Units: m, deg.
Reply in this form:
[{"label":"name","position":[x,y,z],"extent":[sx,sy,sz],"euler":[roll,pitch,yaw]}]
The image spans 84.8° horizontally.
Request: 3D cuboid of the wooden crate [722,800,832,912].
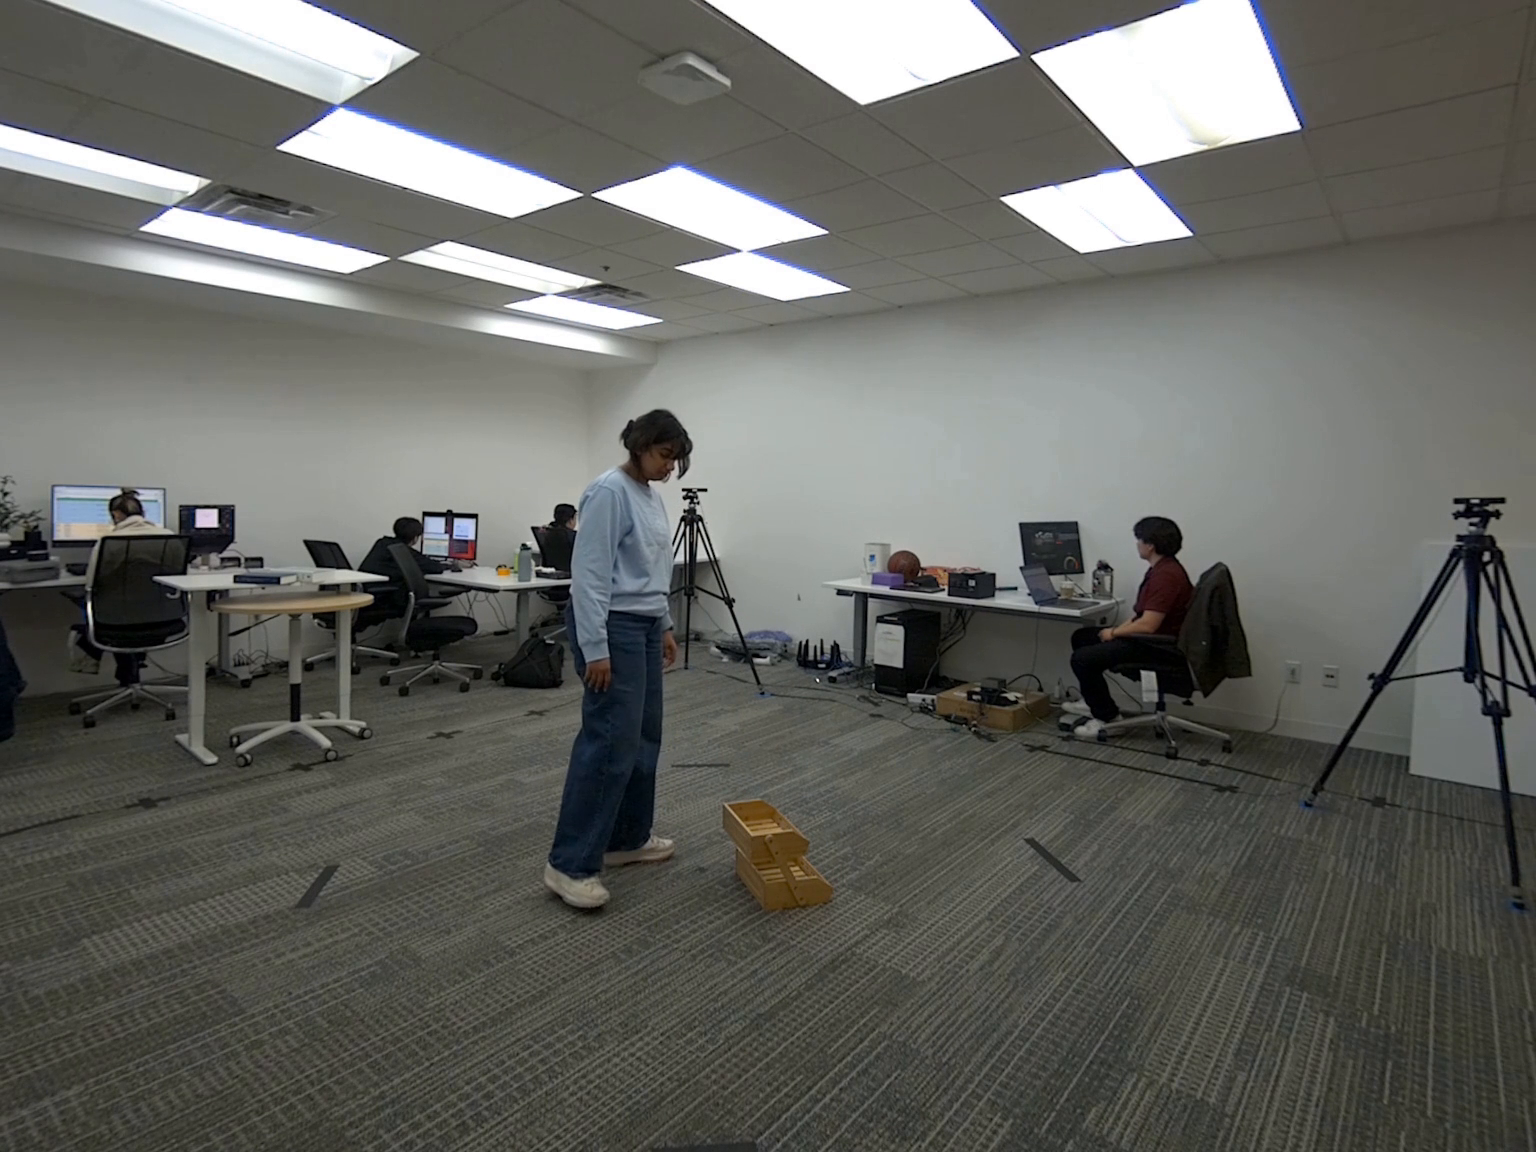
[{"label":"wooden crate","position":[0.026,0.954,2.968],"extent":[0.296,0.272,0.332],"euler":[-1,5,-20]}]
